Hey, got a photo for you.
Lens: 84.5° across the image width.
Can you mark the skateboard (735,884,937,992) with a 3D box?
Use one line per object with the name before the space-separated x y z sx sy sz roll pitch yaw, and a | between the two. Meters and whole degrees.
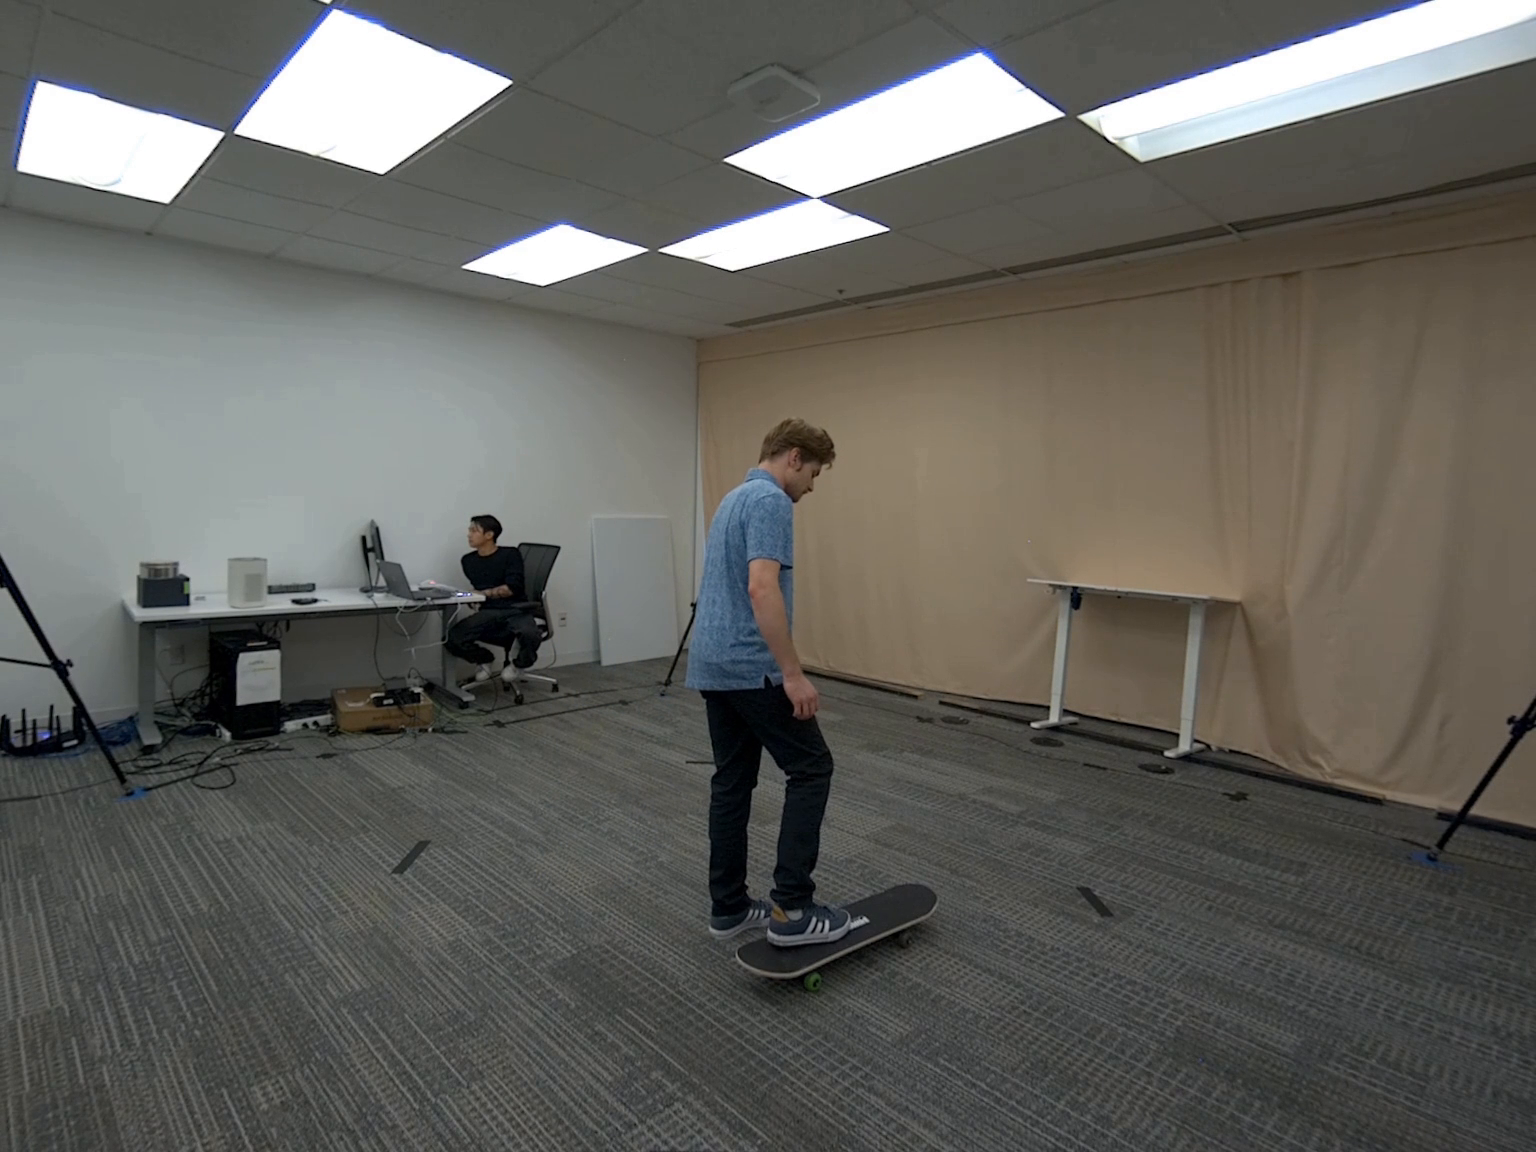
skateboard | 0.227 1.109 2.568 0.768 0.110 0.198 -3 7 -38
